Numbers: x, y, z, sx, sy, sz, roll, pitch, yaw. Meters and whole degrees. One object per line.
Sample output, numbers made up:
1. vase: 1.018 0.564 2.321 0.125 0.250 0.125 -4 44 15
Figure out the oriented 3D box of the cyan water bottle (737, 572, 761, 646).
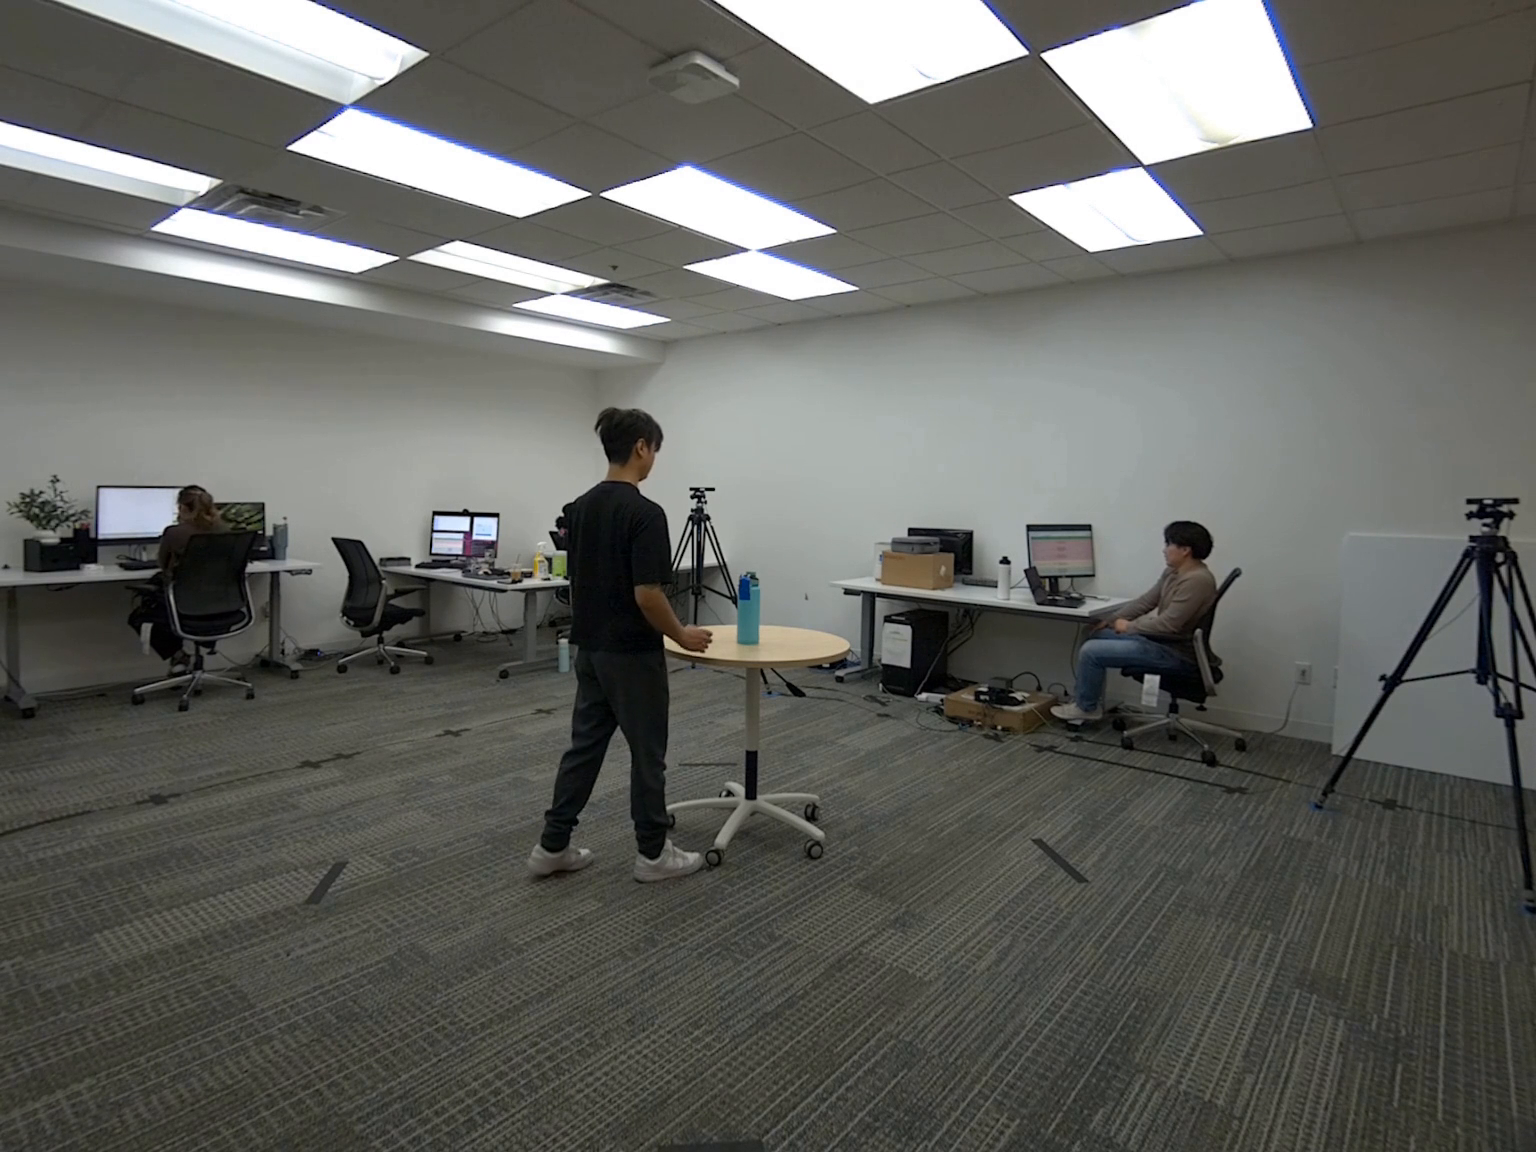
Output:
1. cyan water bottle: -0.085 0.125 3.369 0.092 0.282 0.093 1 5 -2
